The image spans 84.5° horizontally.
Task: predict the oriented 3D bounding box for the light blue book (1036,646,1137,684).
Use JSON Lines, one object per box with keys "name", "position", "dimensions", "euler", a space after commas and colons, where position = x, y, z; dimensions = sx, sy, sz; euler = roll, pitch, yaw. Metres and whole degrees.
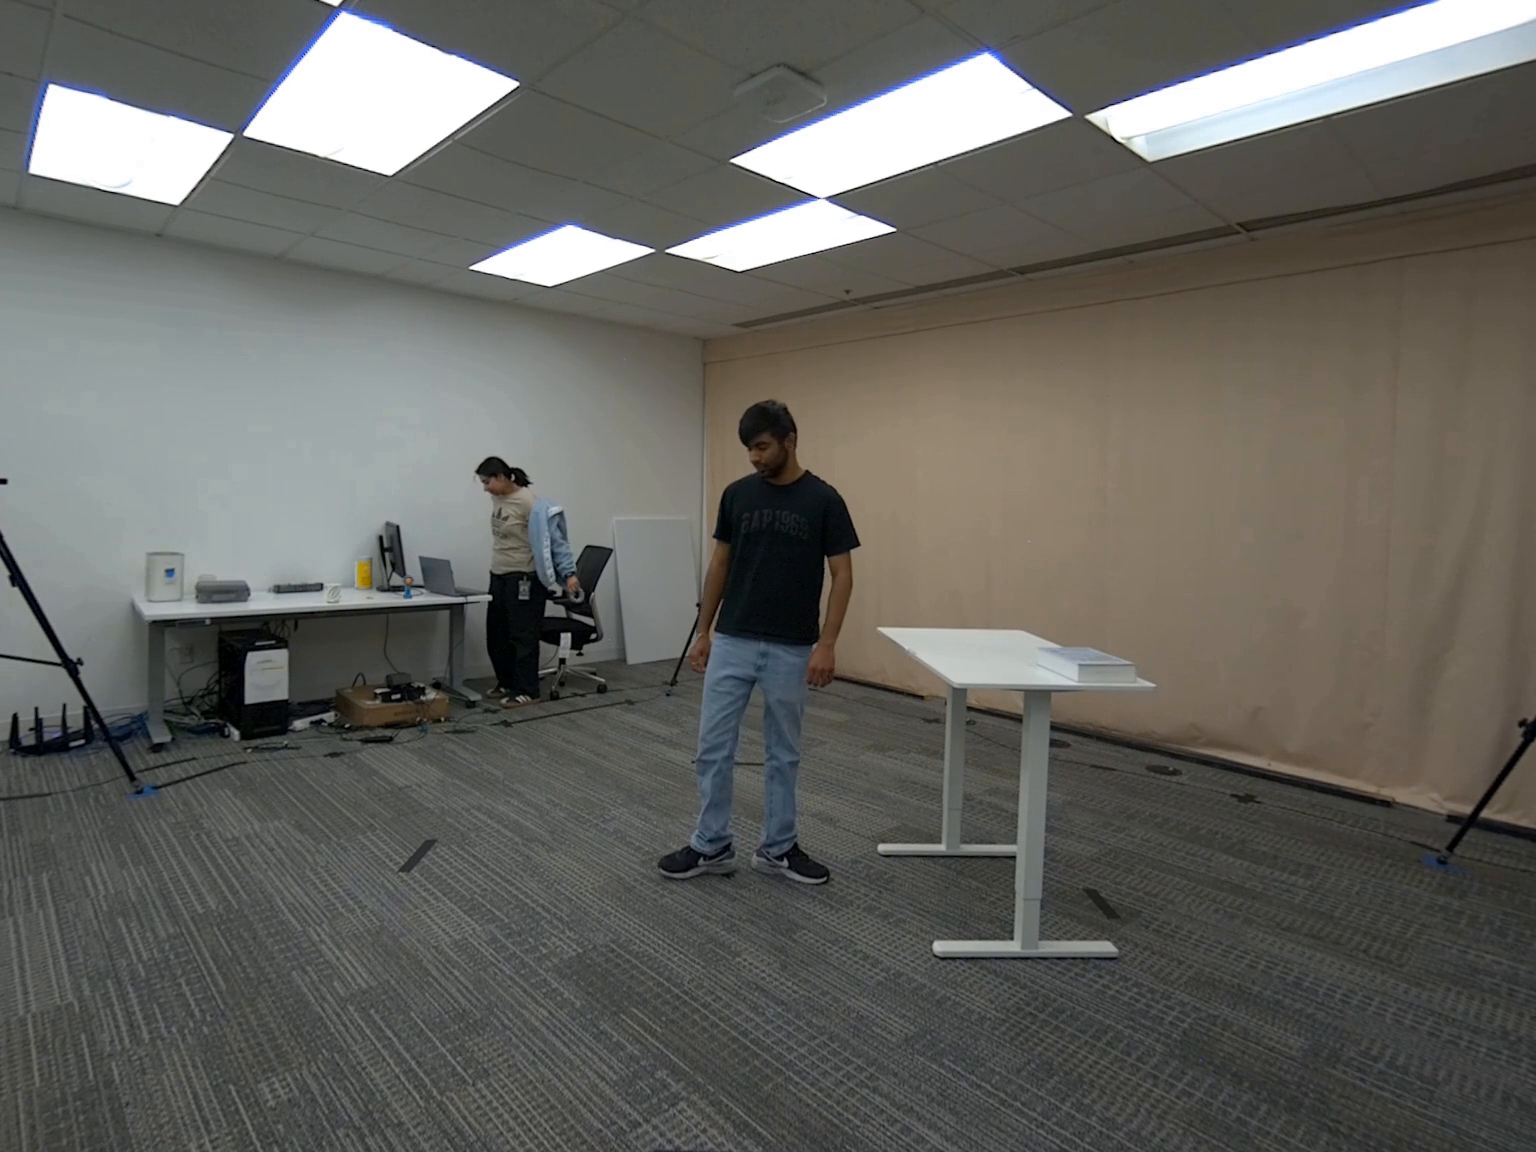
{"name": "light blue book", "position": [0.968, 0.270, 2.604], "dimensions": [0.190, 0.059, 0.263], "euler": [1, 5, -9]}
